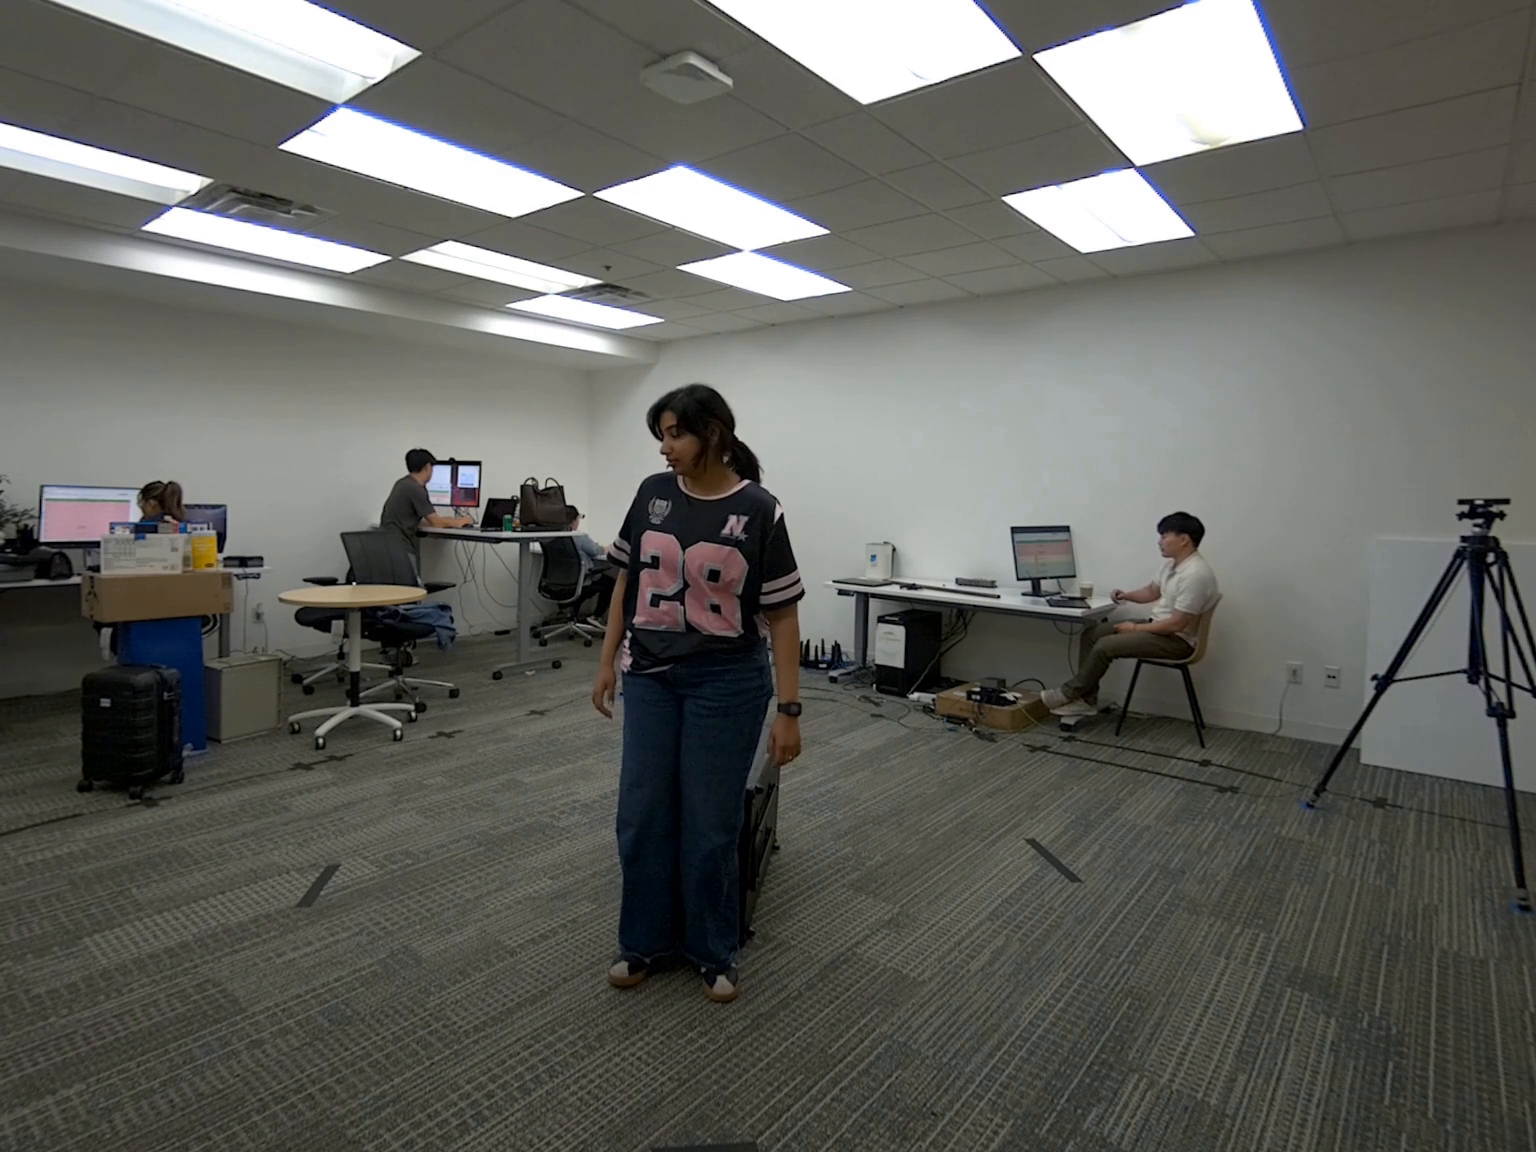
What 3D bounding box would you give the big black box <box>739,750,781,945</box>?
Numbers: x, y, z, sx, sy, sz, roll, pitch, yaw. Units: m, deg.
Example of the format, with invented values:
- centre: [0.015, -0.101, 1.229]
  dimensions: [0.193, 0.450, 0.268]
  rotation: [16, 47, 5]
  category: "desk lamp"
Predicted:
- centre: [-0.180, 0.818, 3.005]
  dimensions: [0.389, 0.521, 0.863]
  rotation: [2, 5, 8]
  category: "big black box"
